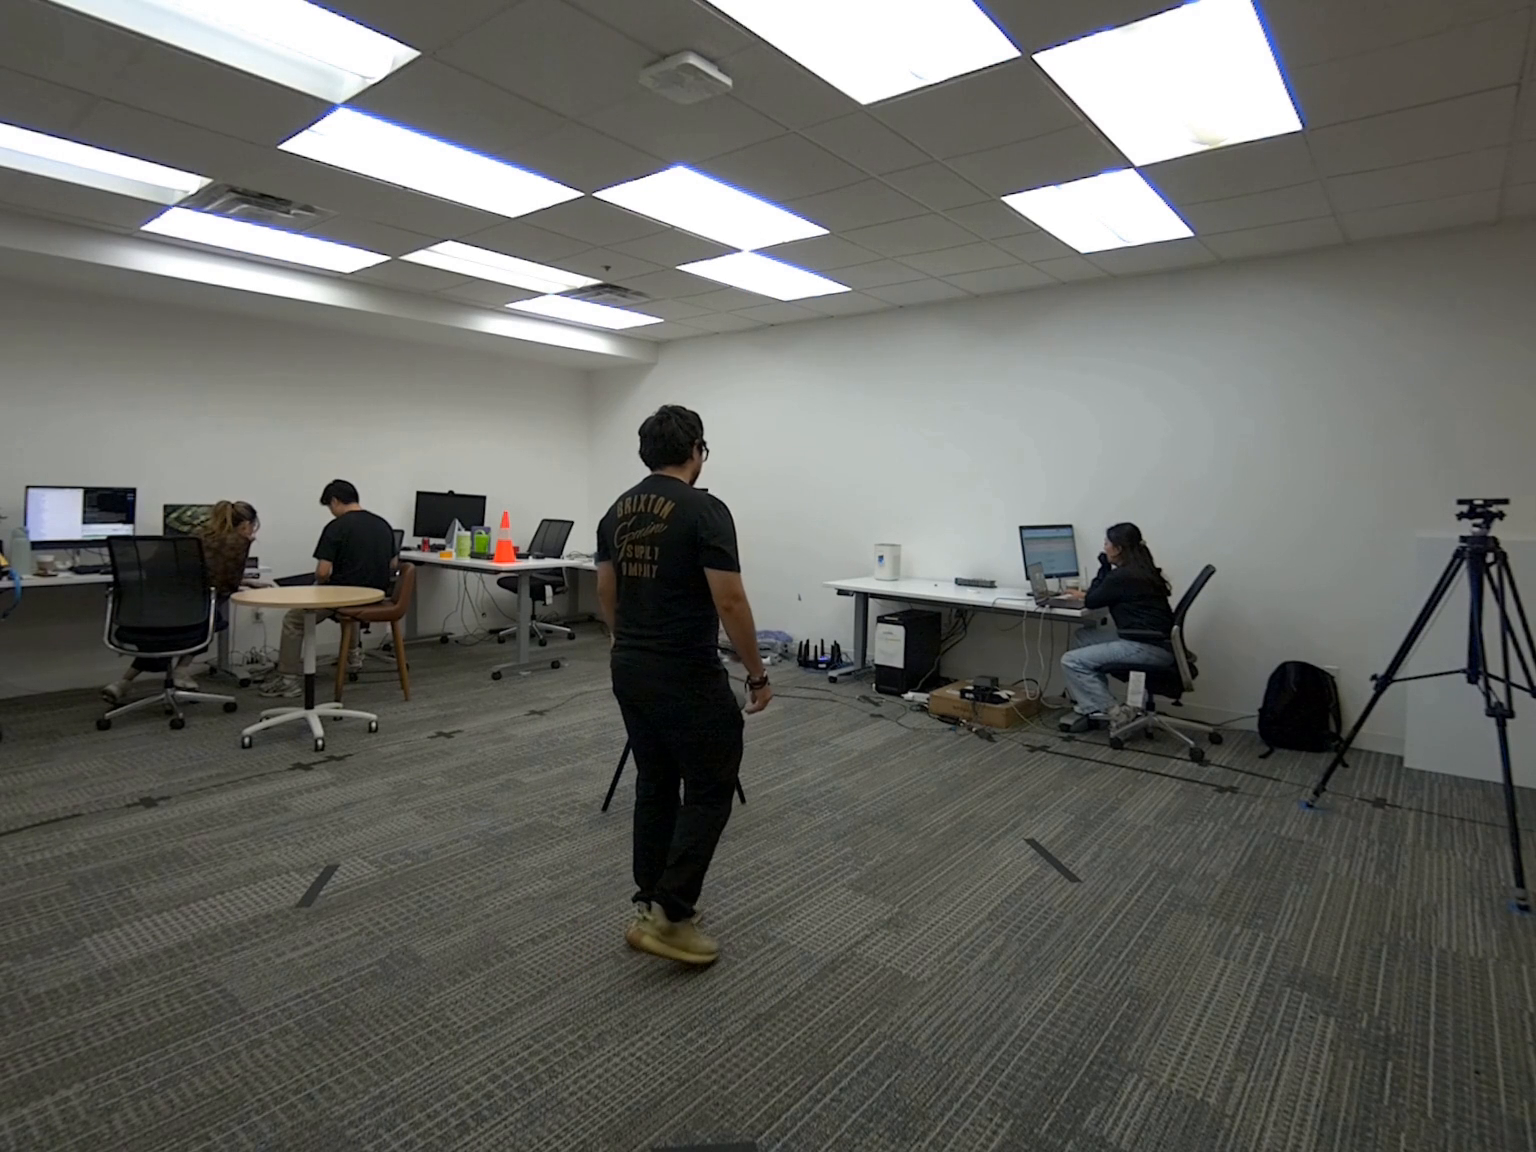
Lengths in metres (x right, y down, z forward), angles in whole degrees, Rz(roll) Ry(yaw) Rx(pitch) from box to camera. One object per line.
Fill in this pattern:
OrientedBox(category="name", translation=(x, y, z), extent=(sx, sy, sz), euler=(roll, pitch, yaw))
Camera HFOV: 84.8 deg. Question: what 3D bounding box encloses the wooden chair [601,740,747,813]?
OrientedBox(category="wooden chair", translation=(-0.398, 0.579, 3.682), extent=(0.538, 0.877, 0.465), euler=(-2, 1, 32))
